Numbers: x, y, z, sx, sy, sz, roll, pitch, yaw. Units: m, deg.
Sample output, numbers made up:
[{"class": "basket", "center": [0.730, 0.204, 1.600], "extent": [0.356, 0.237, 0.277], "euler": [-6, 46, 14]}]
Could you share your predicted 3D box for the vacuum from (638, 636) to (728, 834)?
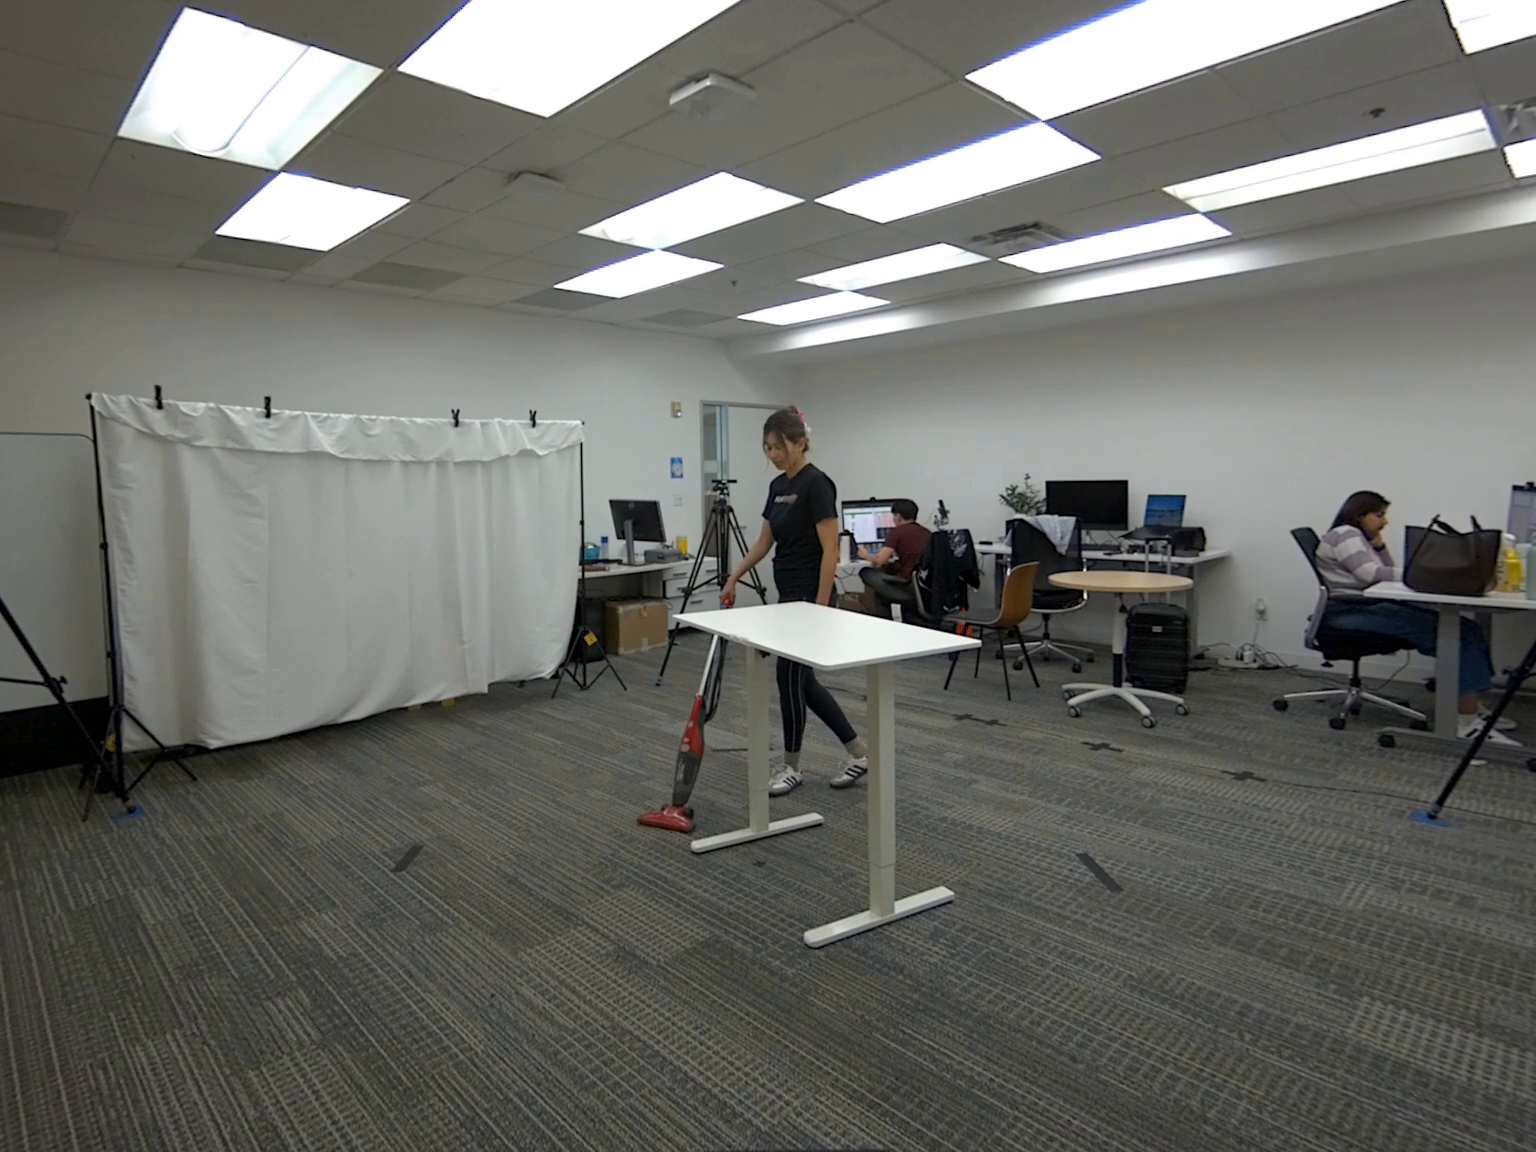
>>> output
[{"class": "vacuum", "center": [-0.280, 0.543, 3.736], "extent": [0.259, 1.065, 0.138], "euler": [-2, -31, 28]}]
